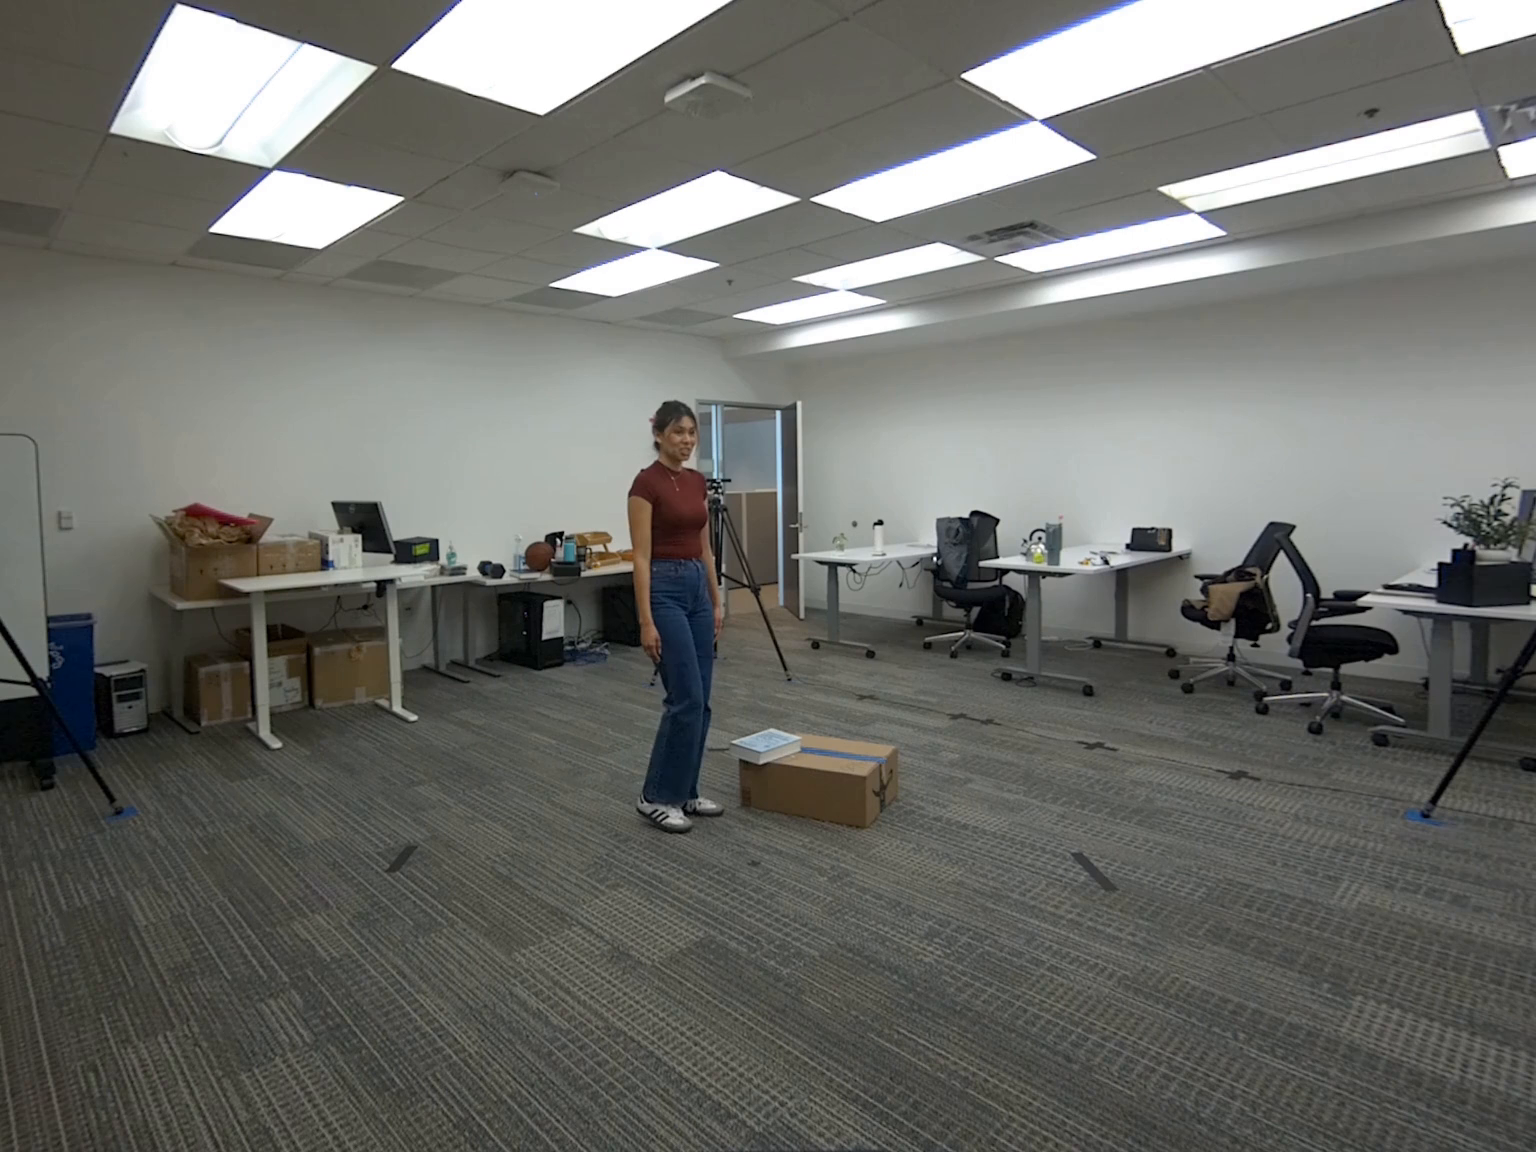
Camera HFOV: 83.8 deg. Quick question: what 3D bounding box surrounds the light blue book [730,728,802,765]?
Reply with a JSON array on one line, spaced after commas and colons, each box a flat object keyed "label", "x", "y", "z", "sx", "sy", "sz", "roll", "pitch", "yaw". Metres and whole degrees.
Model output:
[{"label": "light blue book", "x": -0.007, "y": 0.732, "z": 3.688, "sx": 0.197, "sy": 0.059, "sz": 0.254, "roll": 7, "pitch": 10, "yaw": 44}]
